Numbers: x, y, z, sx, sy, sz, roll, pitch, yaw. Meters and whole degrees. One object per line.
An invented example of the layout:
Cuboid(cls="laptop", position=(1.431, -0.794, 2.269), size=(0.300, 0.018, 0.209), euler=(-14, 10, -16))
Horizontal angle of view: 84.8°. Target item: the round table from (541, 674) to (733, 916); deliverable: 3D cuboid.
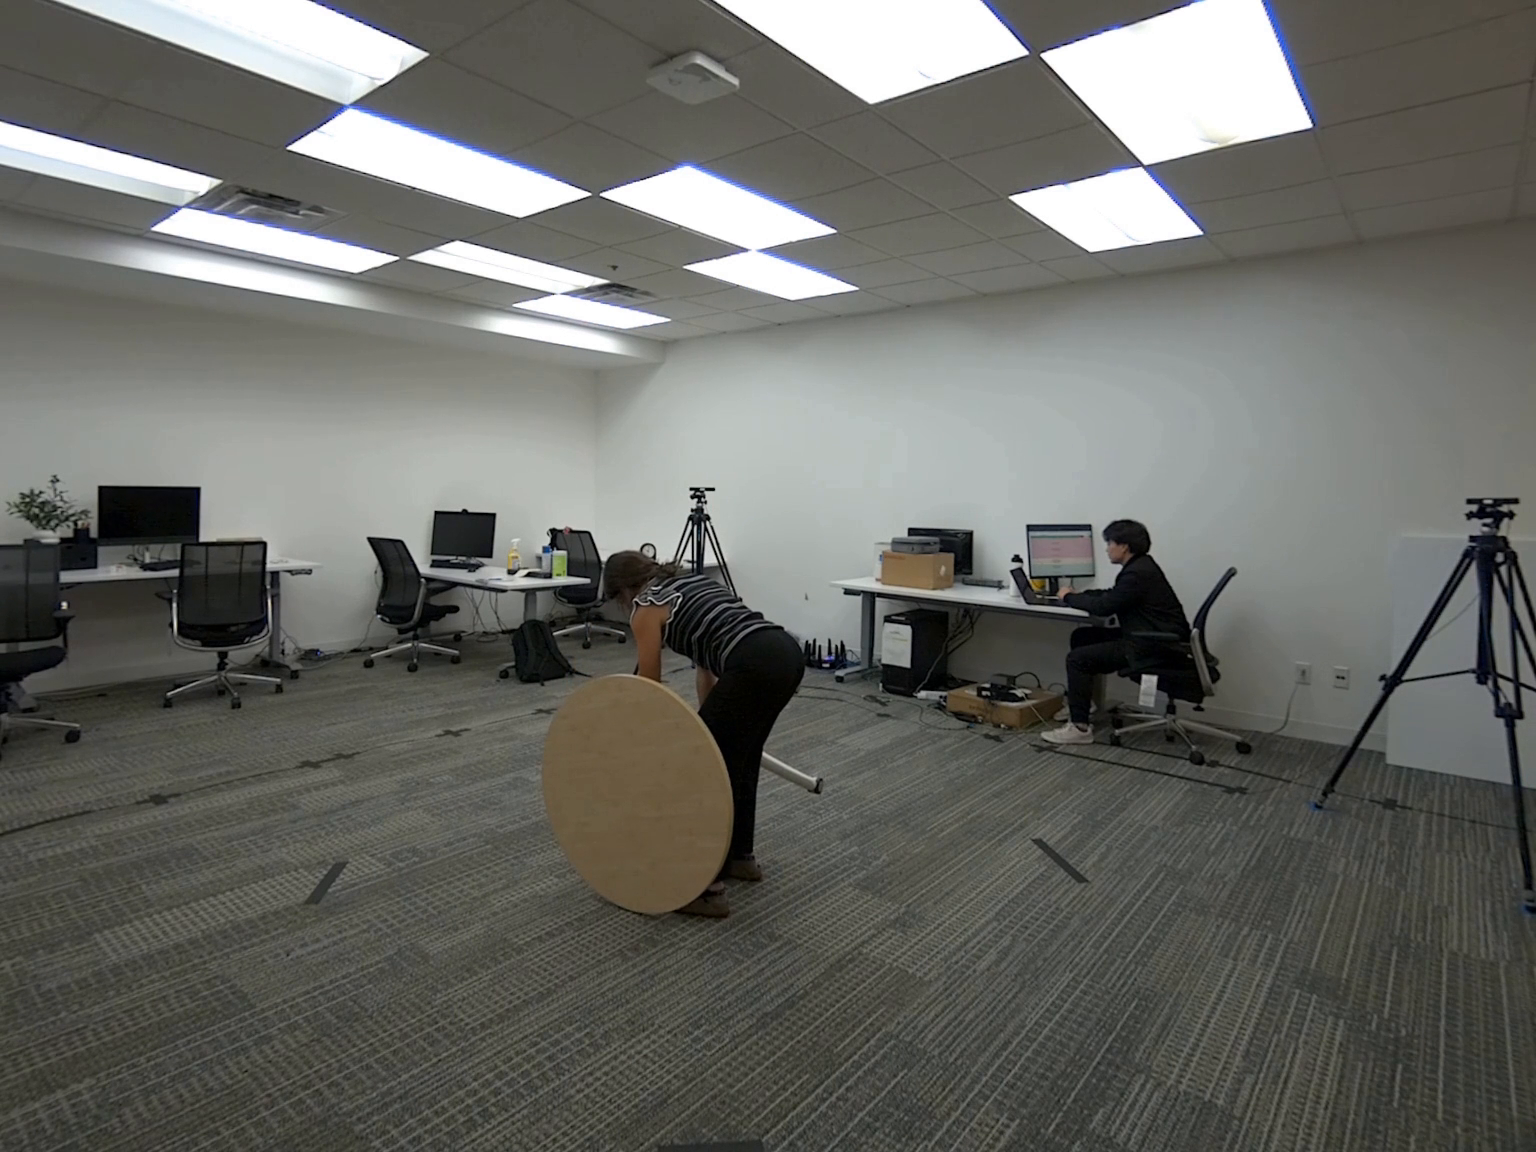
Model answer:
Cuboid(cls="round table", position=(-0.275, 0.683, 3.099), size=(0.787, 0.762, 0.773), euler=(3, 4, 30))
